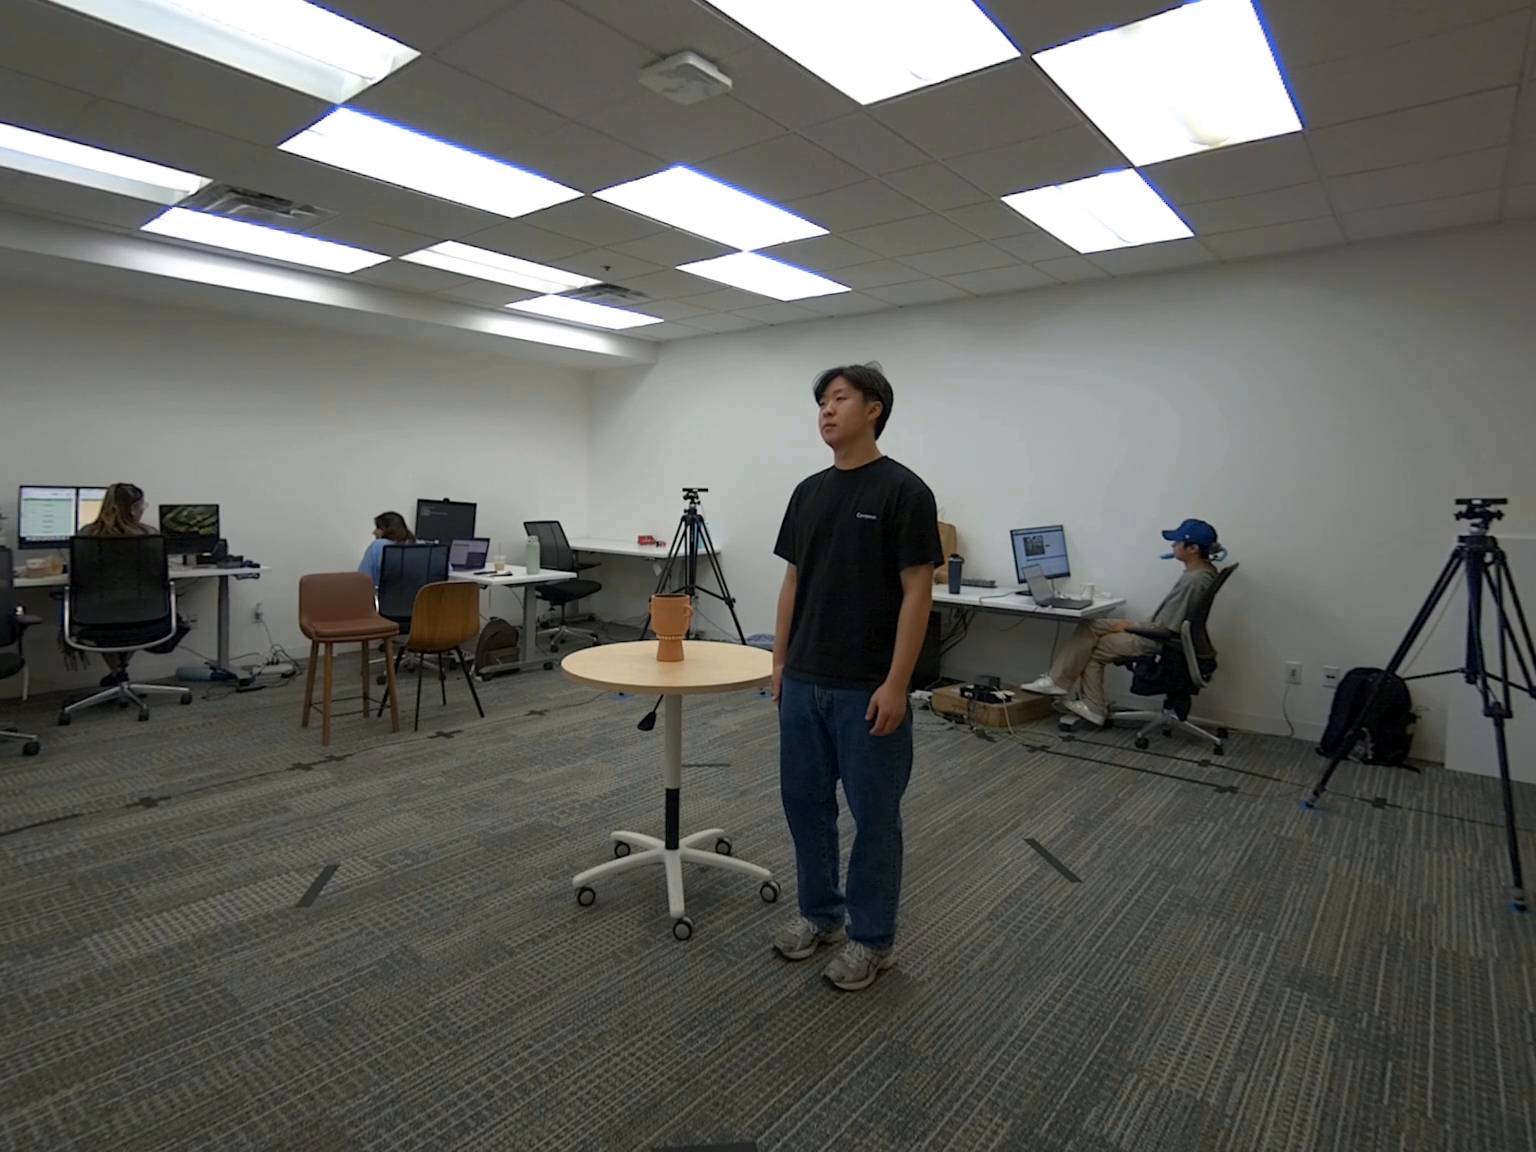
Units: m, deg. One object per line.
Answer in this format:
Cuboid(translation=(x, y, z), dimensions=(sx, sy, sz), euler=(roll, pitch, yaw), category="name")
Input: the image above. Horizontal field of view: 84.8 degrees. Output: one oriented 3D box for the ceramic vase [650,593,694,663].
Cuboid(translation=(-0.349, 0.178, 2.943), dimensions=(0.132, 0.219, 0.162), euler=(0, 4, -16), category="ceramic vase")
